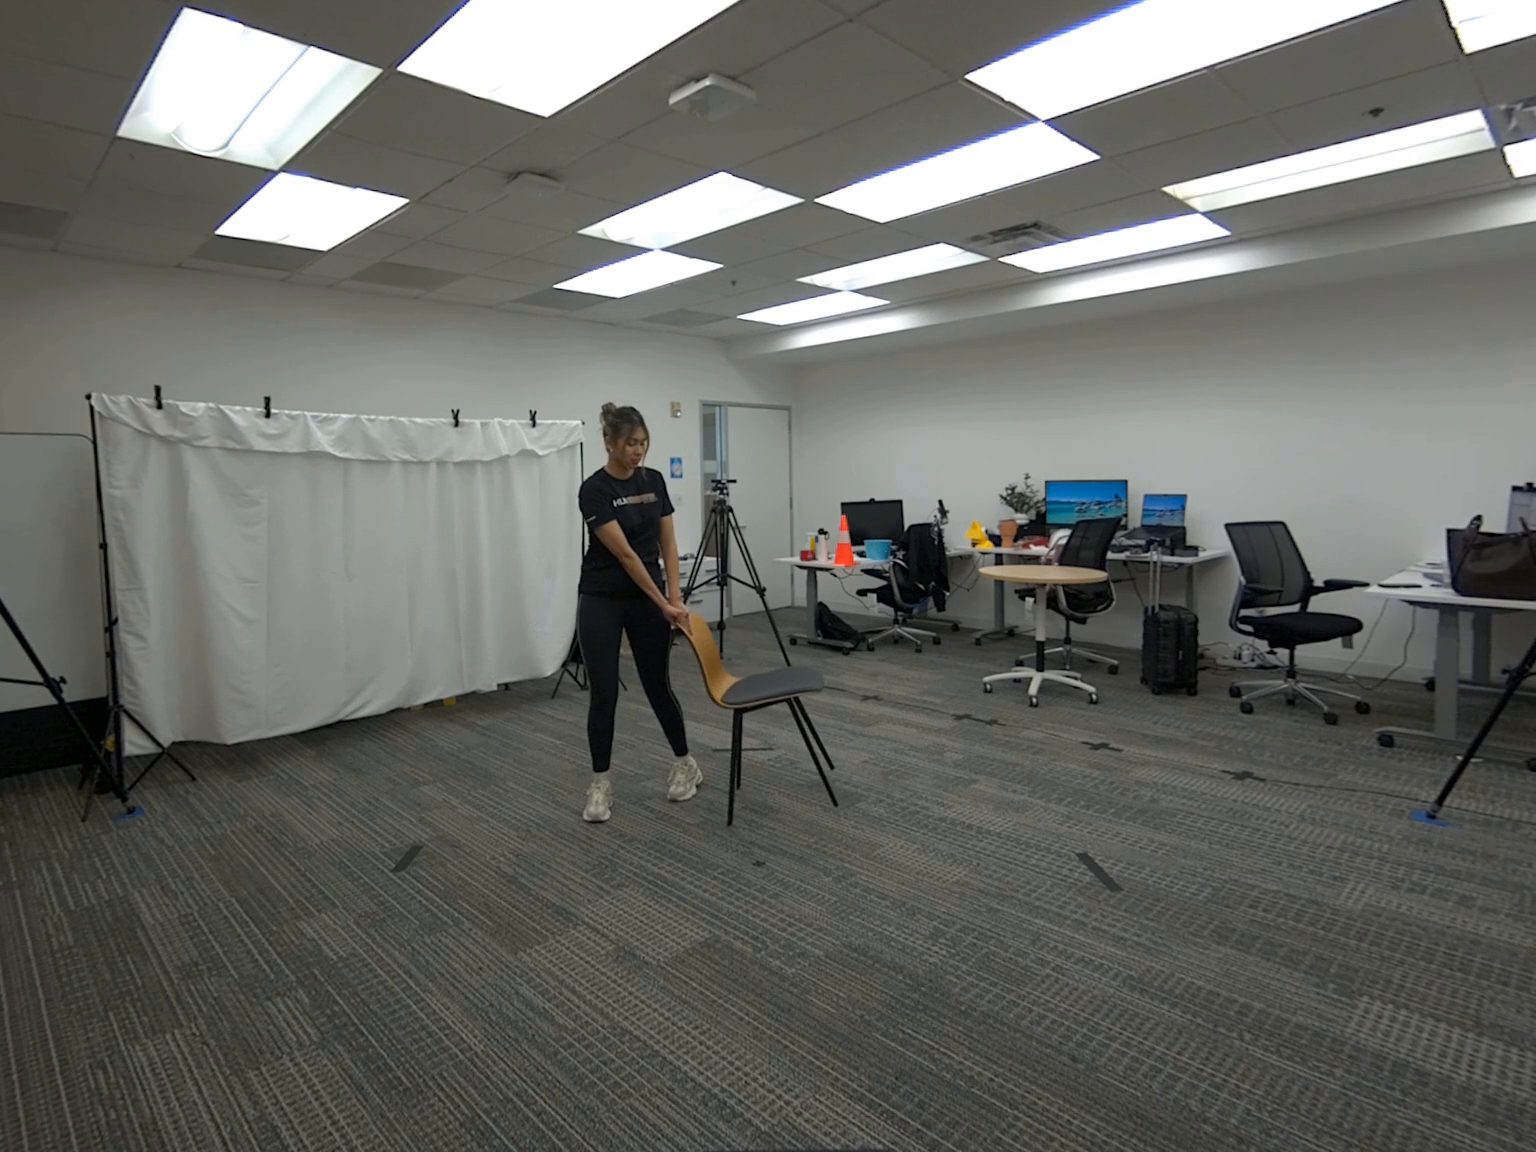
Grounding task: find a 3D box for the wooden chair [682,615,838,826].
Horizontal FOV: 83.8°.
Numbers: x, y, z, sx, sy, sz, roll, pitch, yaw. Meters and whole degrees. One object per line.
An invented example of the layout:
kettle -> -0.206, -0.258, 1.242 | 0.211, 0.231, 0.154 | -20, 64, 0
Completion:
wooden chair -> -0.016, 0.523, 3.619 | 0.525, 0.876, 0.477 | -17, 2, 5
